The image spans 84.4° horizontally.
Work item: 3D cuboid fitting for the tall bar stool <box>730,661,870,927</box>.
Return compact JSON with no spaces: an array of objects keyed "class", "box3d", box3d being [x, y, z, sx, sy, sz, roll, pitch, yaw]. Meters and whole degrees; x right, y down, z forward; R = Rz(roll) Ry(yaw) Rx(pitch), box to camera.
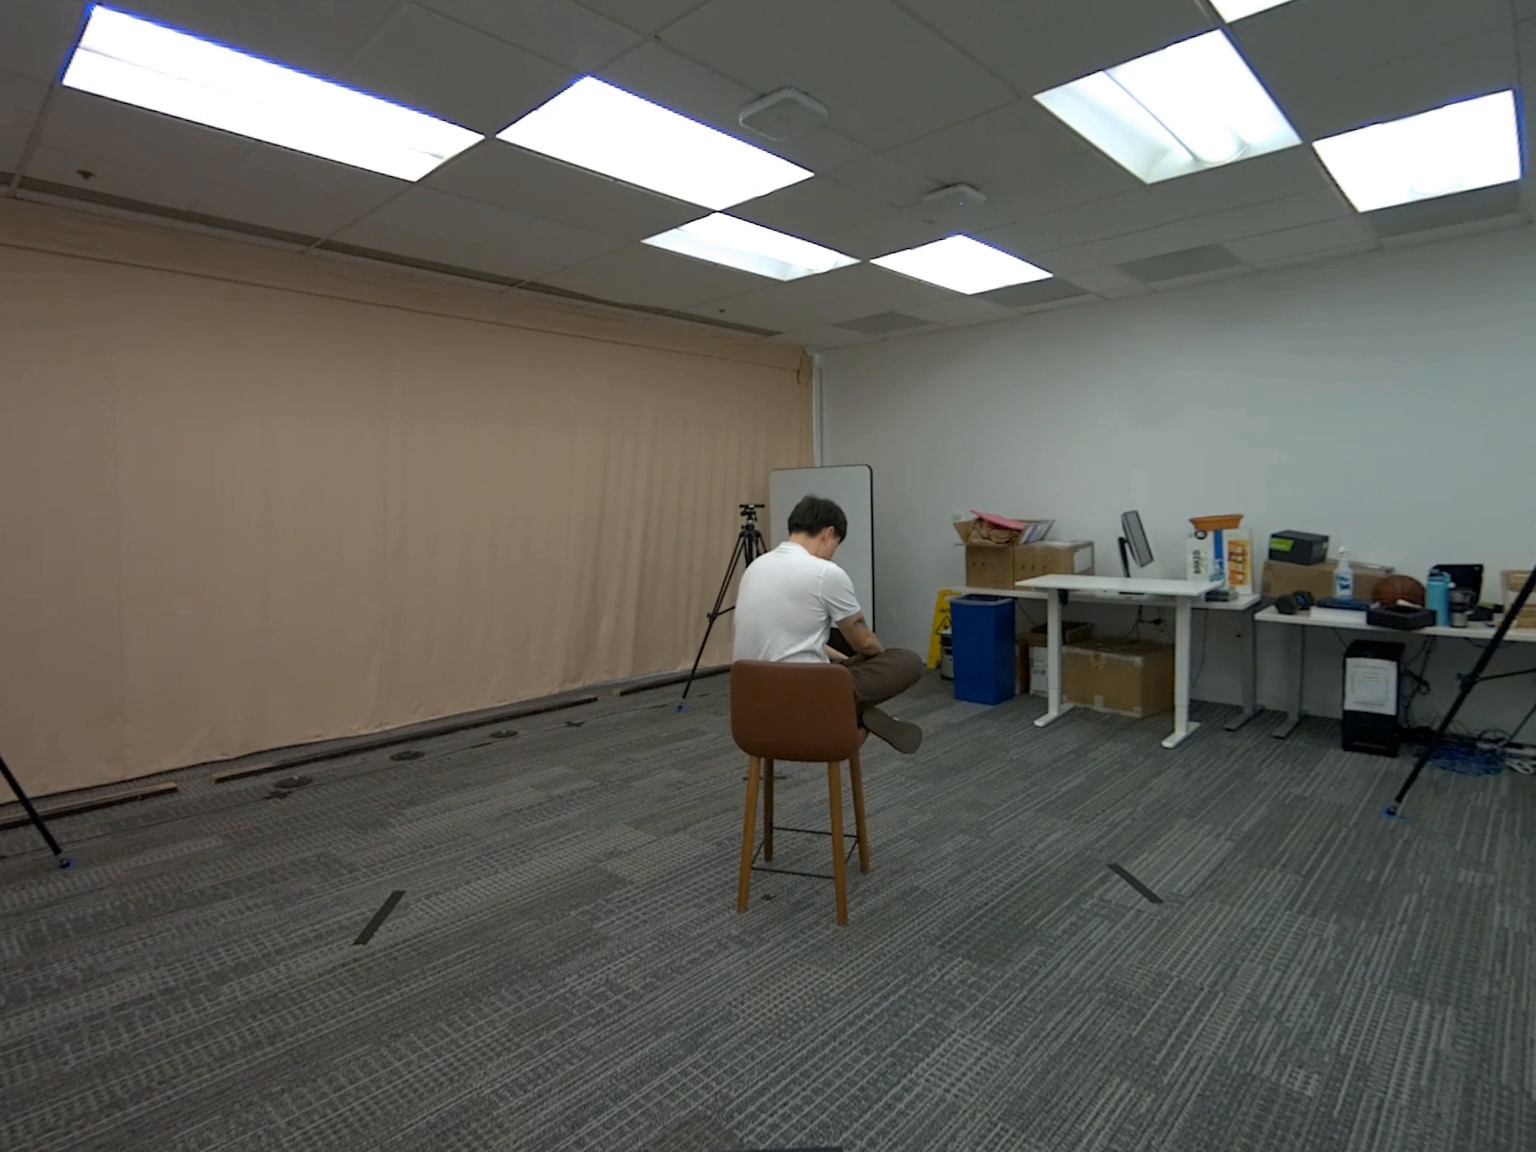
[{"class":"tall bar stool","box3d":[0.126,0.705,3.003,0.466,0.886,0.460,0,6,18]}]
